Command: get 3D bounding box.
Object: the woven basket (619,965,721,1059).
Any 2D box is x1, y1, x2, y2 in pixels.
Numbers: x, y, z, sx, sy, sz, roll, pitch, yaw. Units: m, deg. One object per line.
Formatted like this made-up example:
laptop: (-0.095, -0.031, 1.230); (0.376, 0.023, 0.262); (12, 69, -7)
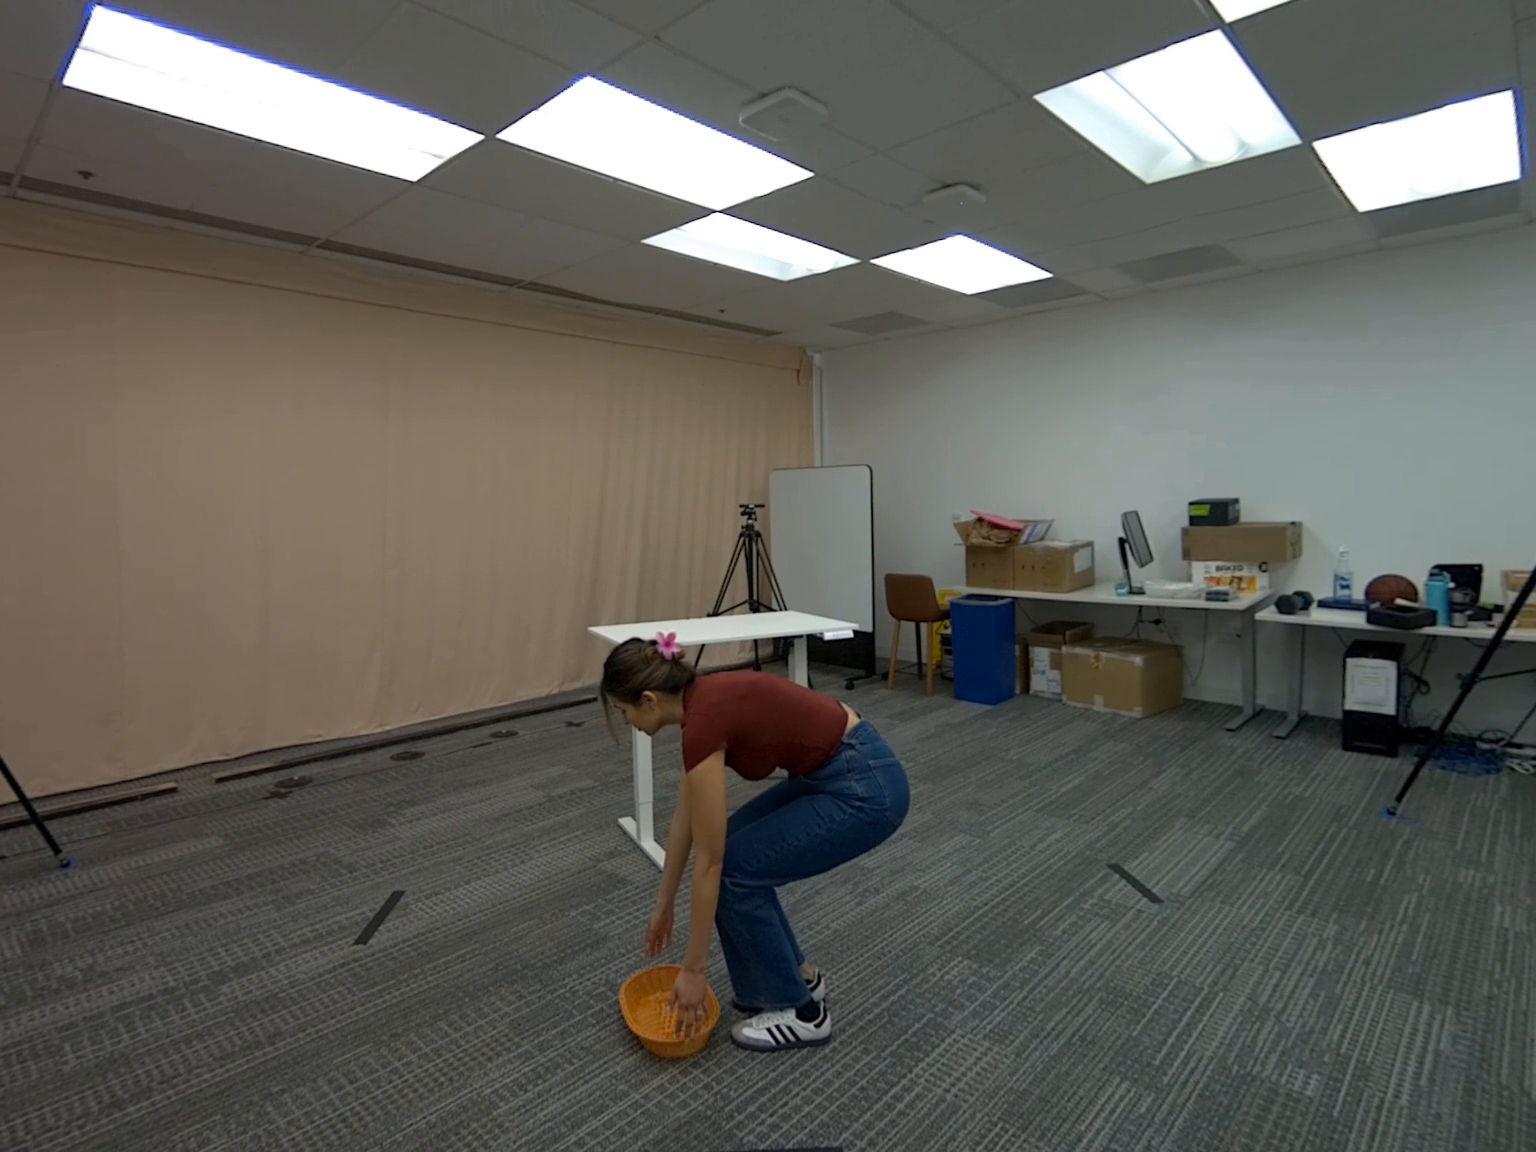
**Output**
woven basket: (-0.265, 1.170, 2.260); (0.248, 0.073, 0.358); (-3, 5, -20)
